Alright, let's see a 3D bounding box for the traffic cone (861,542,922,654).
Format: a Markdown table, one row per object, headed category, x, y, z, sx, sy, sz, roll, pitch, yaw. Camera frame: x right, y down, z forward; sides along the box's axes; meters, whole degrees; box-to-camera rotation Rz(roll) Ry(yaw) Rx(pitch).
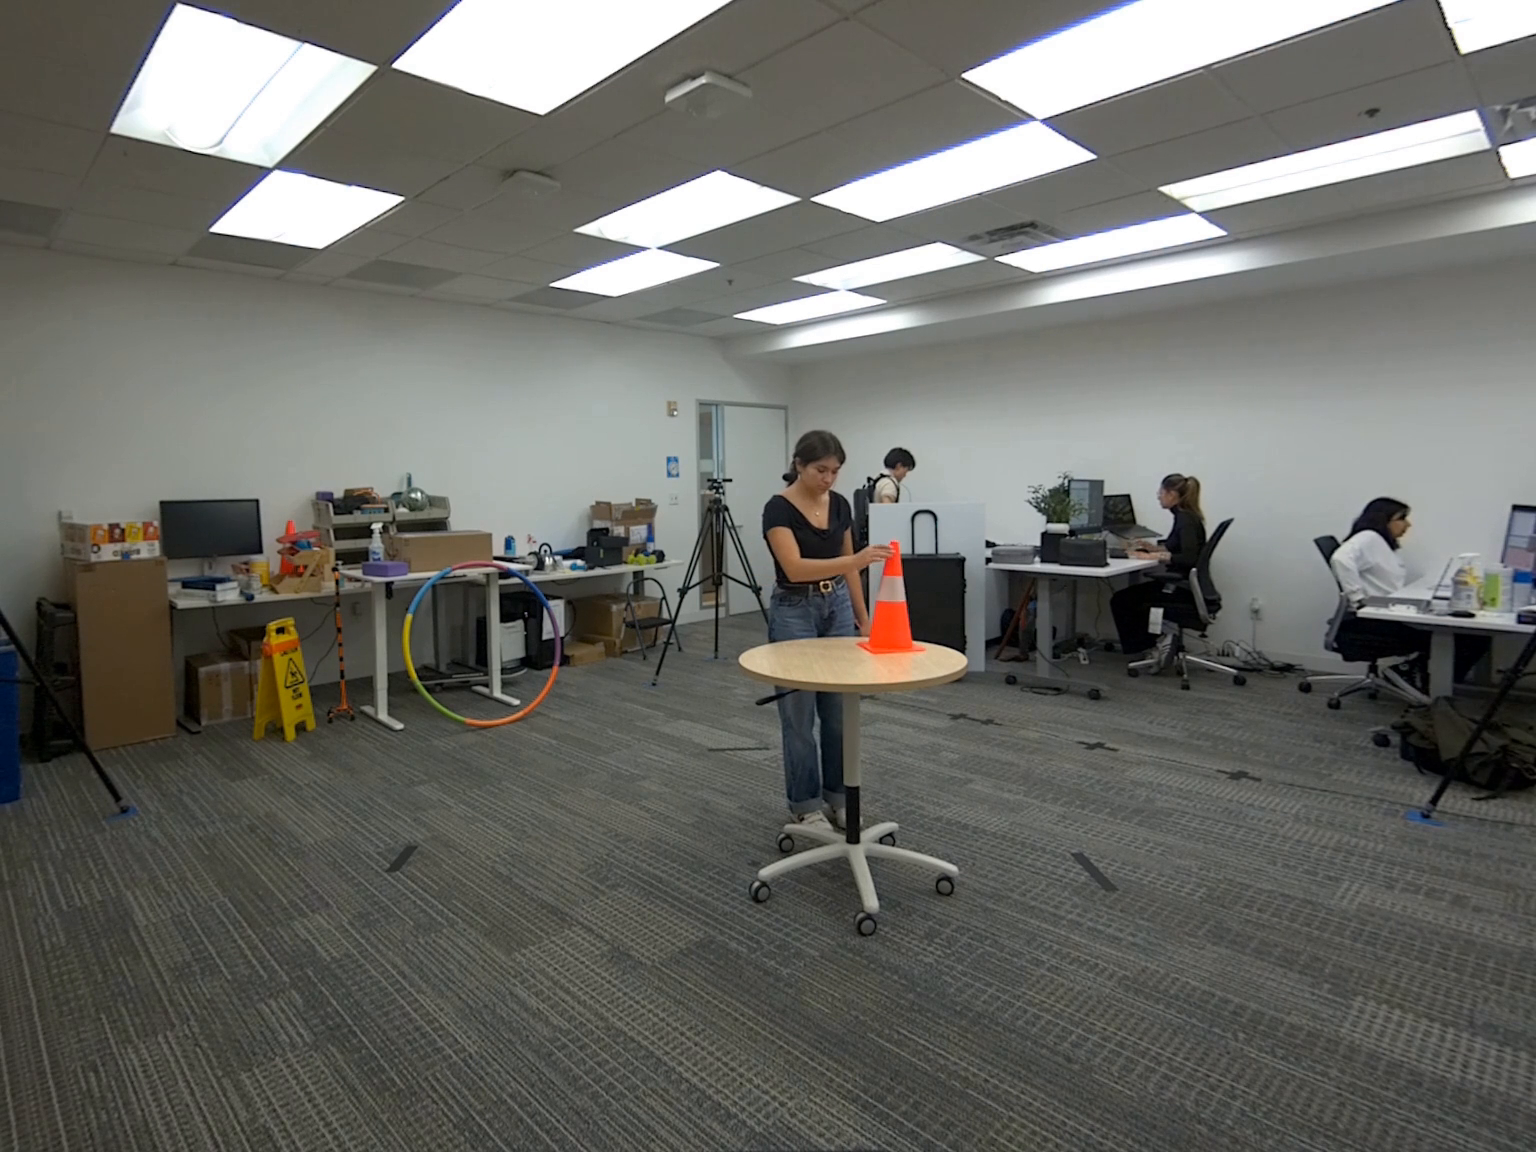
| category | x | y | z | sx | sy | sz | roll | pitch | yaw |
| --- | --- | --- | --- | --- | --- | --- | --- | --- | --- |
| traffic cone | 0.441 | 0.069 | 3.073 | 0.202 | 0.383 | 0.206 | 1 | 3 | -13 |
